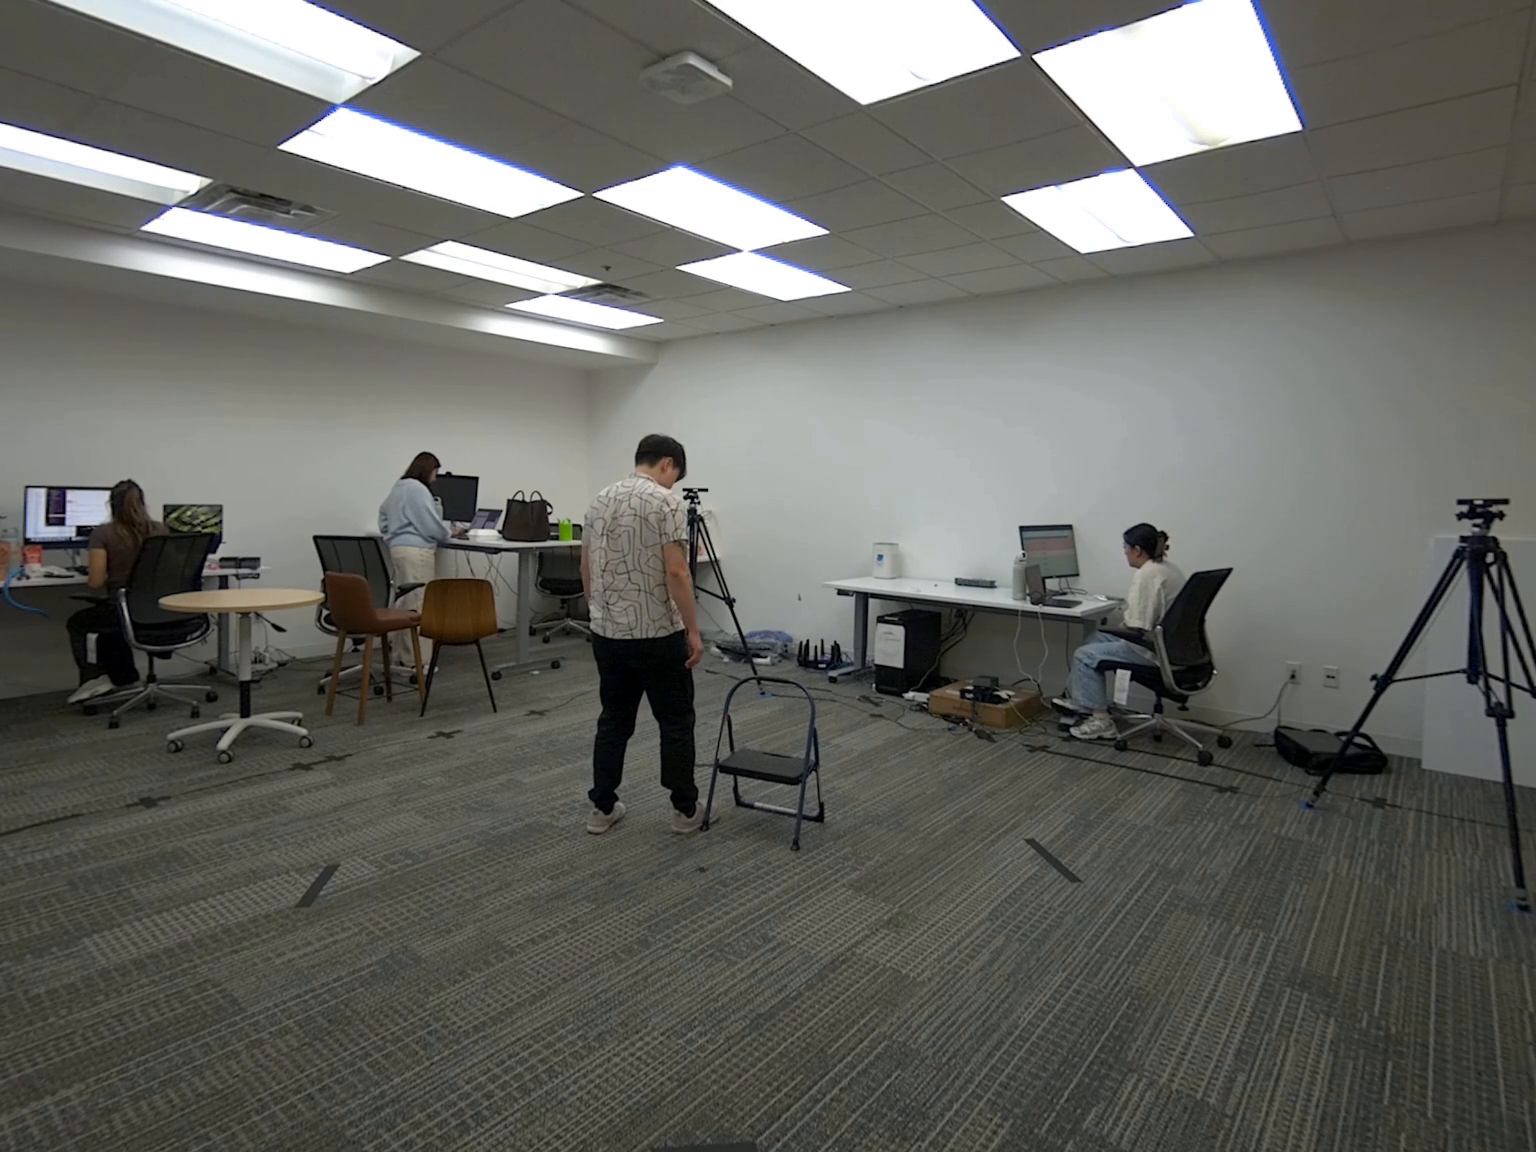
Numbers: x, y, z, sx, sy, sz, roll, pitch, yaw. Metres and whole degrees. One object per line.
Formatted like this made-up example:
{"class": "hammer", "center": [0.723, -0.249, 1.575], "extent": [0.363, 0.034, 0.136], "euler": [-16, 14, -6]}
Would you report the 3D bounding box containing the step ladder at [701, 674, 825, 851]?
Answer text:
{"class": "step ladder", "center": [-0.015, 0.735, 3.515], "extent": [0.441, 0.604, 0.342], "euler": [3, 4, 24]}
